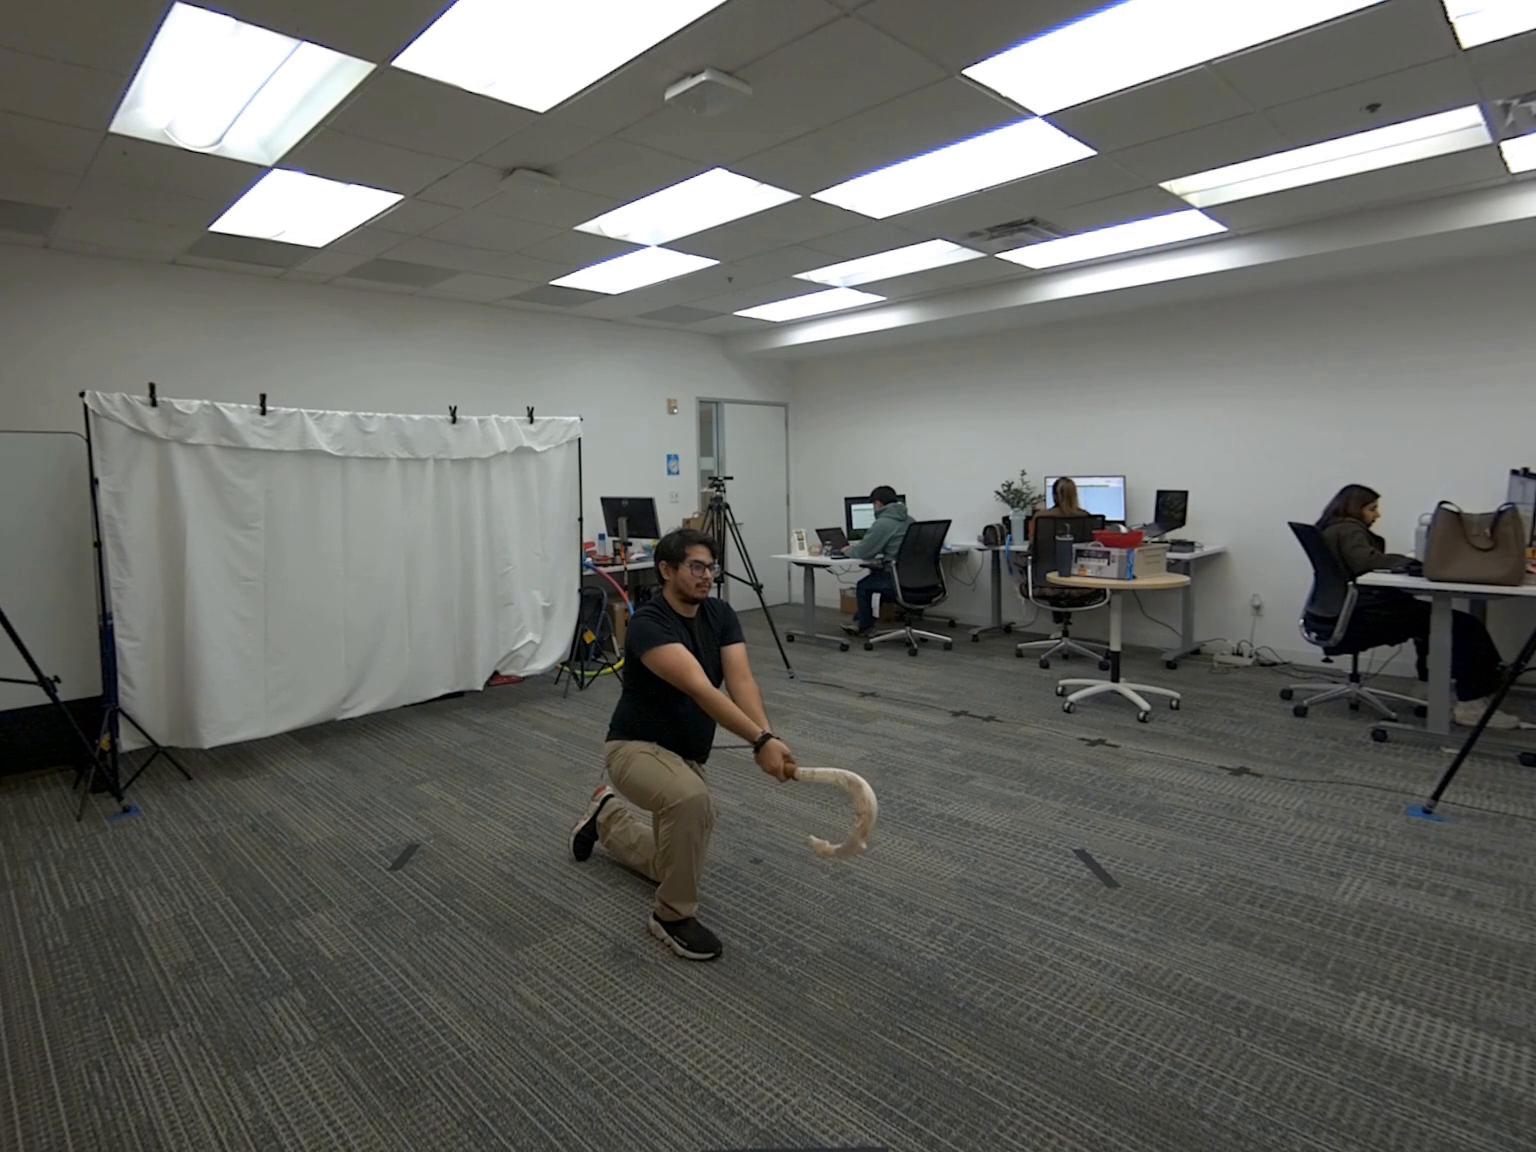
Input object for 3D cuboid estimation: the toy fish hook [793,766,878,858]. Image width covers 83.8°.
[{"bbox_3d":[0.114,0.594,2.326,0.046,0.225,0.522,28,-11,-34],"label":"toy fish hook"}]
